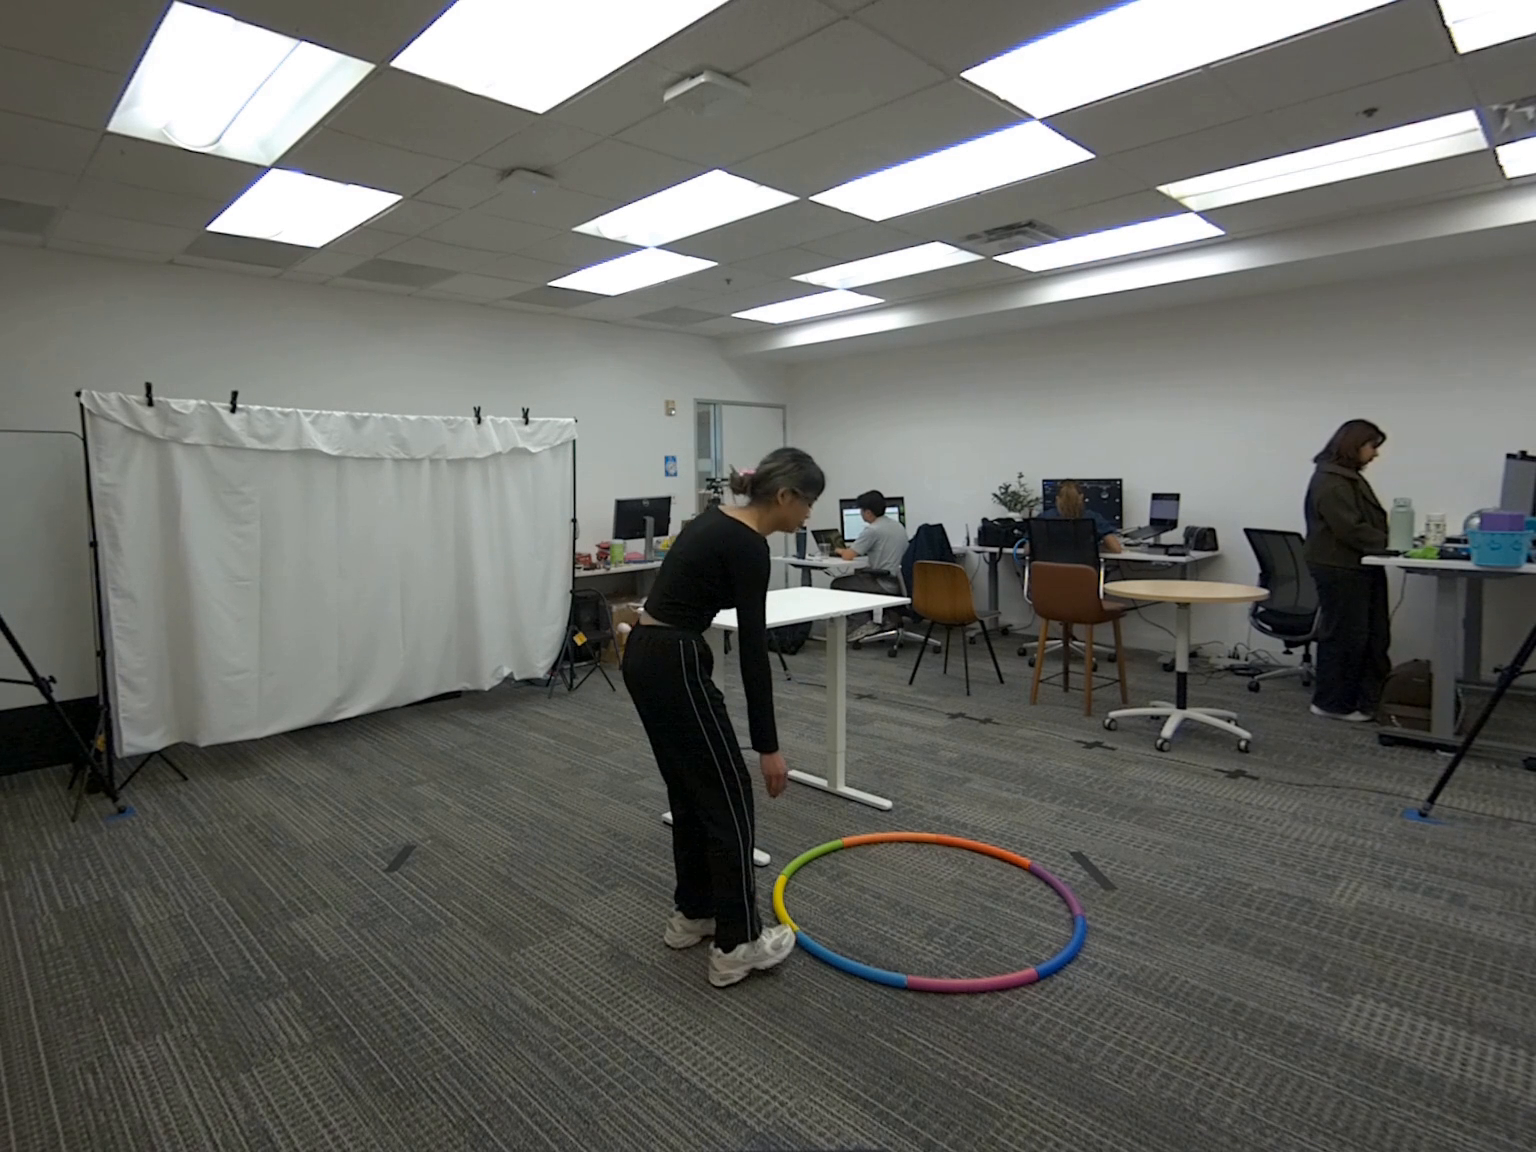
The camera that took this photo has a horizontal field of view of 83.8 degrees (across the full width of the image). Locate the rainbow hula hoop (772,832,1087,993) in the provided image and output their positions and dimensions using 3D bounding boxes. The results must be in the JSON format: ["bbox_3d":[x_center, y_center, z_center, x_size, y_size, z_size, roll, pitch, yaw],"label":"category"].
[{"bbox_3d":[0.506,1.041,2.793,0.978,0.035,0.985,-1,7,-2],"label":"rainbow hula hoop"}]
